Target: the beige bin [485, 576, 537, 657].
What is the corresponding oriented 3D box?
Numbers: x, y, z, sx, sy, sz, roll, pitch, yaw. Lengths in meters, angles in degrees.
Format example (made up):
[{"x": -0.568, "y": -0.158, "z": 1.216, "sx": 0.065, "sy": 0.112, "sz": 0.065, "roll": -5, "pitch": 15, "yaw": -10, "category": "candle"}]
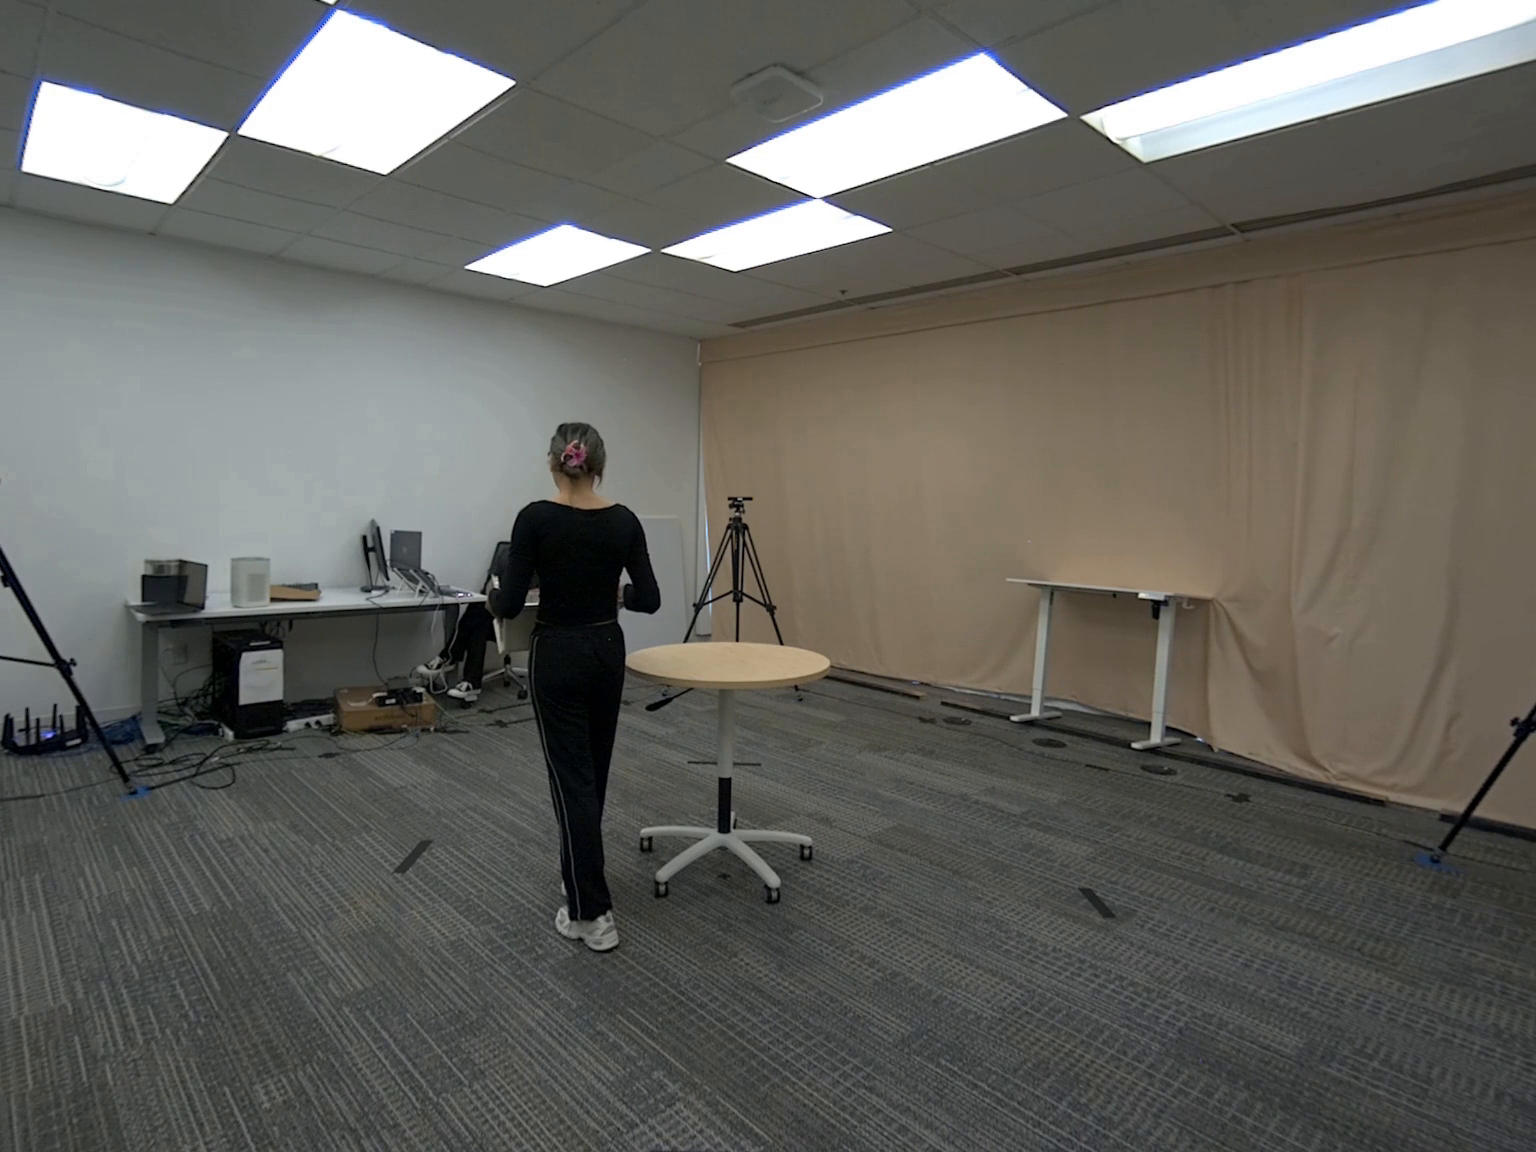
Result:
[{"x": -0.760, "y": 0.119, "z": 3.023, "sx": 0.416, "sy": 0.187, "sz": 0.387, "roll": -2, "pitch": 19, "yaw": -21, "category": "beige bin"}]
